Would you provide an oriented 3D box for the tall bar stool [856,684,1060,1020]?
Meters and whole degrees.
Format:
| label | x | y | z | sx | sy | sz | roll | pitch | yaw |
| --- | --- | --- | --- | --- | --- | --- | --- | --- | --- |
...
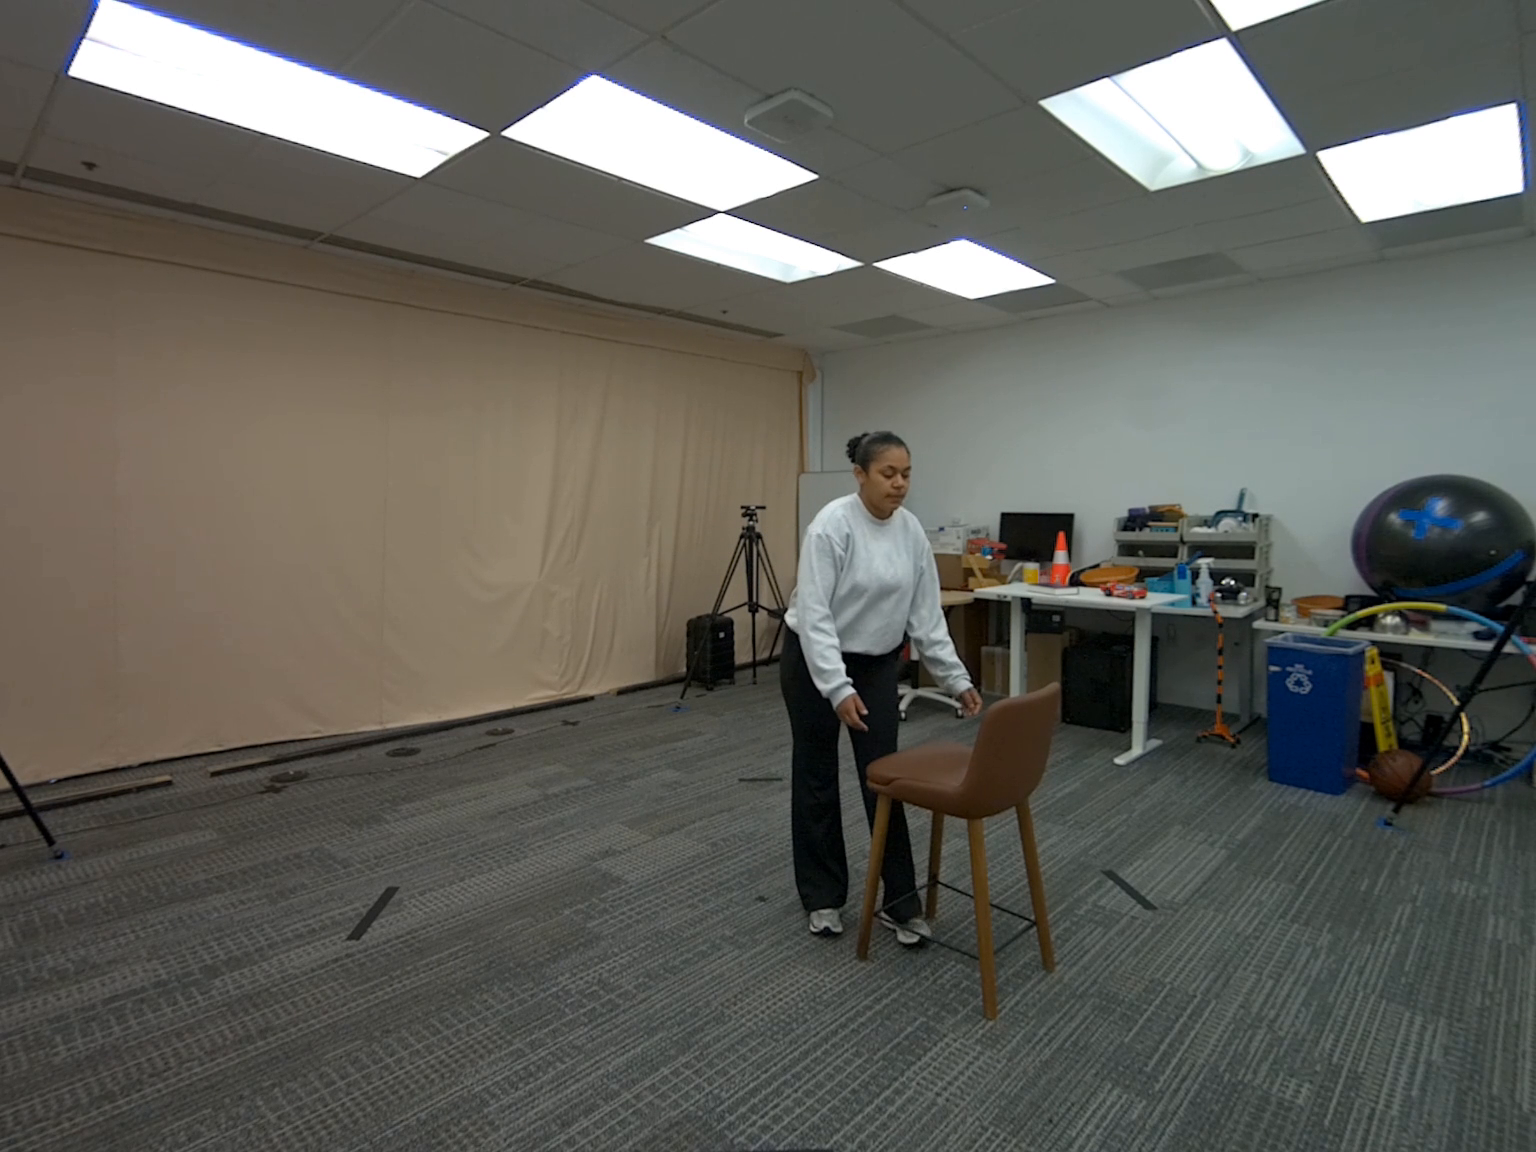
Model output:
| label | x | y | z | sx | sy | sz | roll | pitch | yaw |
| --- | --- | --- | --- | --- | --- | --- | --- | --- | --- |
| tall bar stool | 0.585 | 0.741 | 2.530 | 0.442 | 0.887 | 0.484 | -4 | 7 | -45 |
